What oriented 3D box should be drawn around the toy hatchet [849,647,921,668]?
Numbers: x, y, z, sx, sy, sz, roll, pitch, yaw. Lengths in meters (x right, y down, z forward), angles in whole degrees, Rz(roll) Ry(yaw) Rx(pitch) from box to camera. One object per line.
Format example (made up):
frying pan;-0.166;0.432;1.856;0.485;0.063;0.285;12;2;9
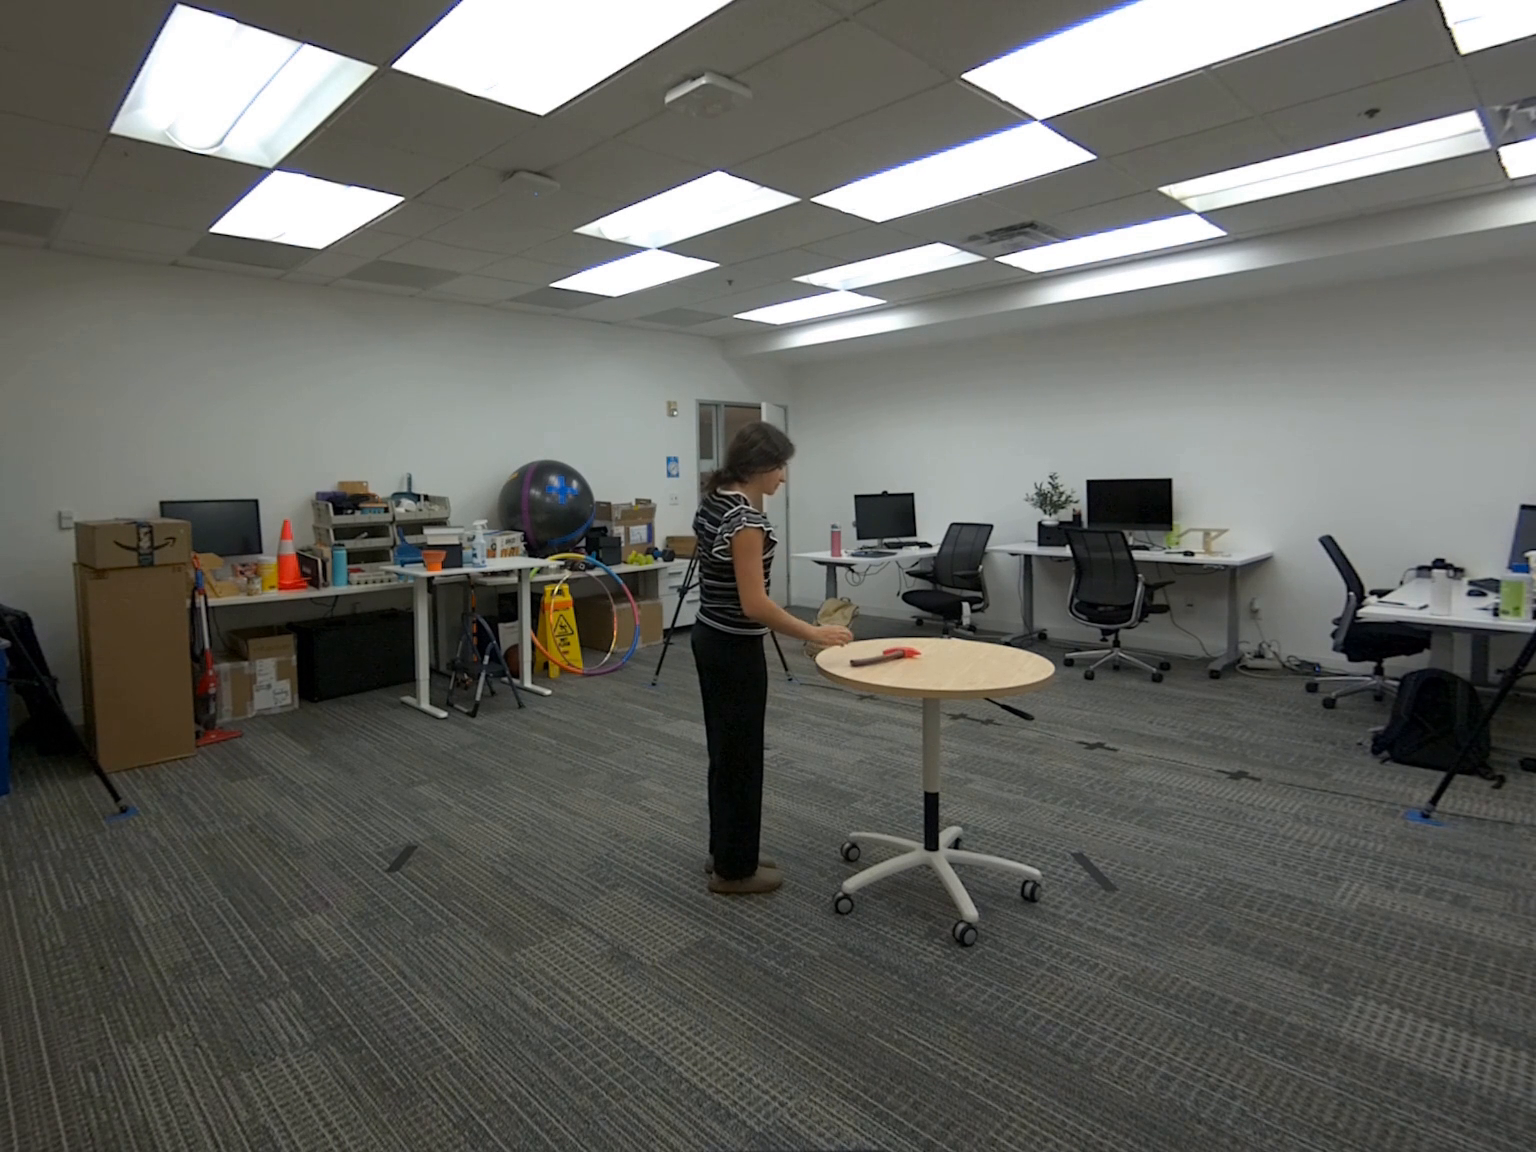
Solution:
toy hatchet;0.375;0.269;2.867;0.265;0.029;0.134;-5;7;-24
